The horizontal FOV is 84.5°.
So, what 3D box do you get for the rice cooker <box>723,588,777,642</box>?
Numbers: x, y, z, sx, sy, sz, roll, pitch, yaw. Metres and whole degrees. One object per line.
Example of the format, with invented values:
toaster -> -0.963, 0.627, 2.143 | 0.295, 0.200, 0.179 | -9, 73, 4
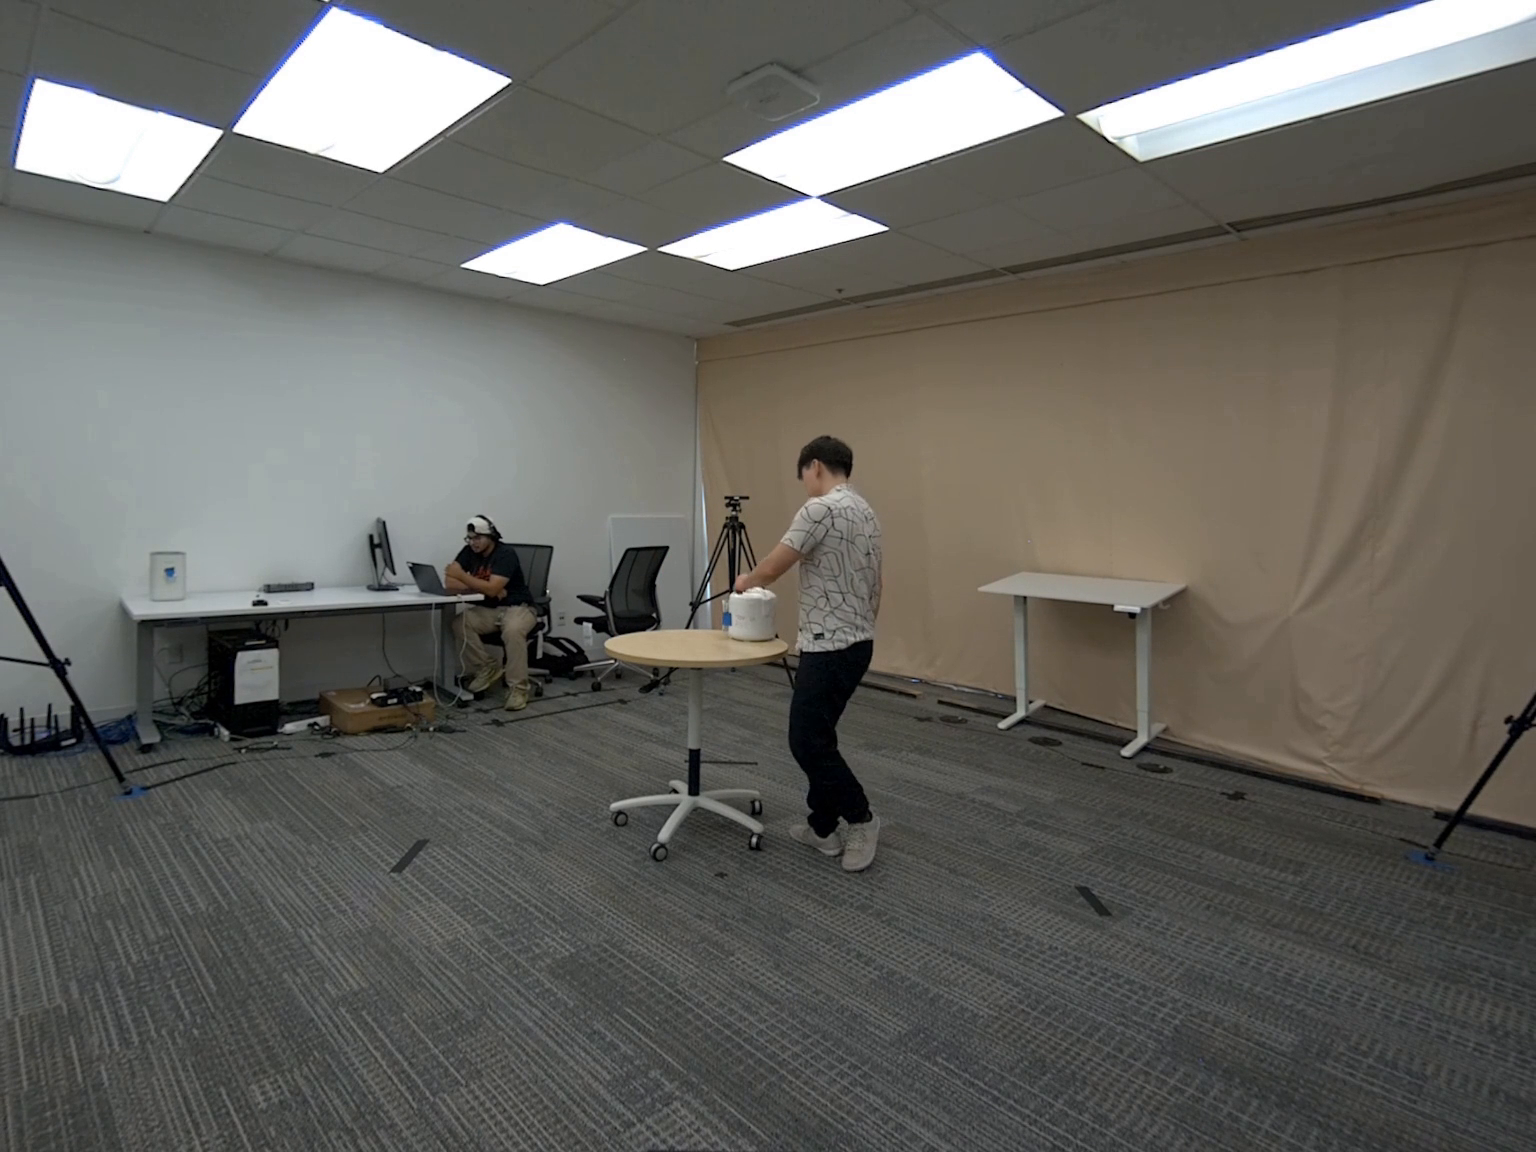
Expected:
rice cooker -> -0.074, 0.158, 3.665 | 0.213, 0.232, 0.226 | -2, 6, -34
